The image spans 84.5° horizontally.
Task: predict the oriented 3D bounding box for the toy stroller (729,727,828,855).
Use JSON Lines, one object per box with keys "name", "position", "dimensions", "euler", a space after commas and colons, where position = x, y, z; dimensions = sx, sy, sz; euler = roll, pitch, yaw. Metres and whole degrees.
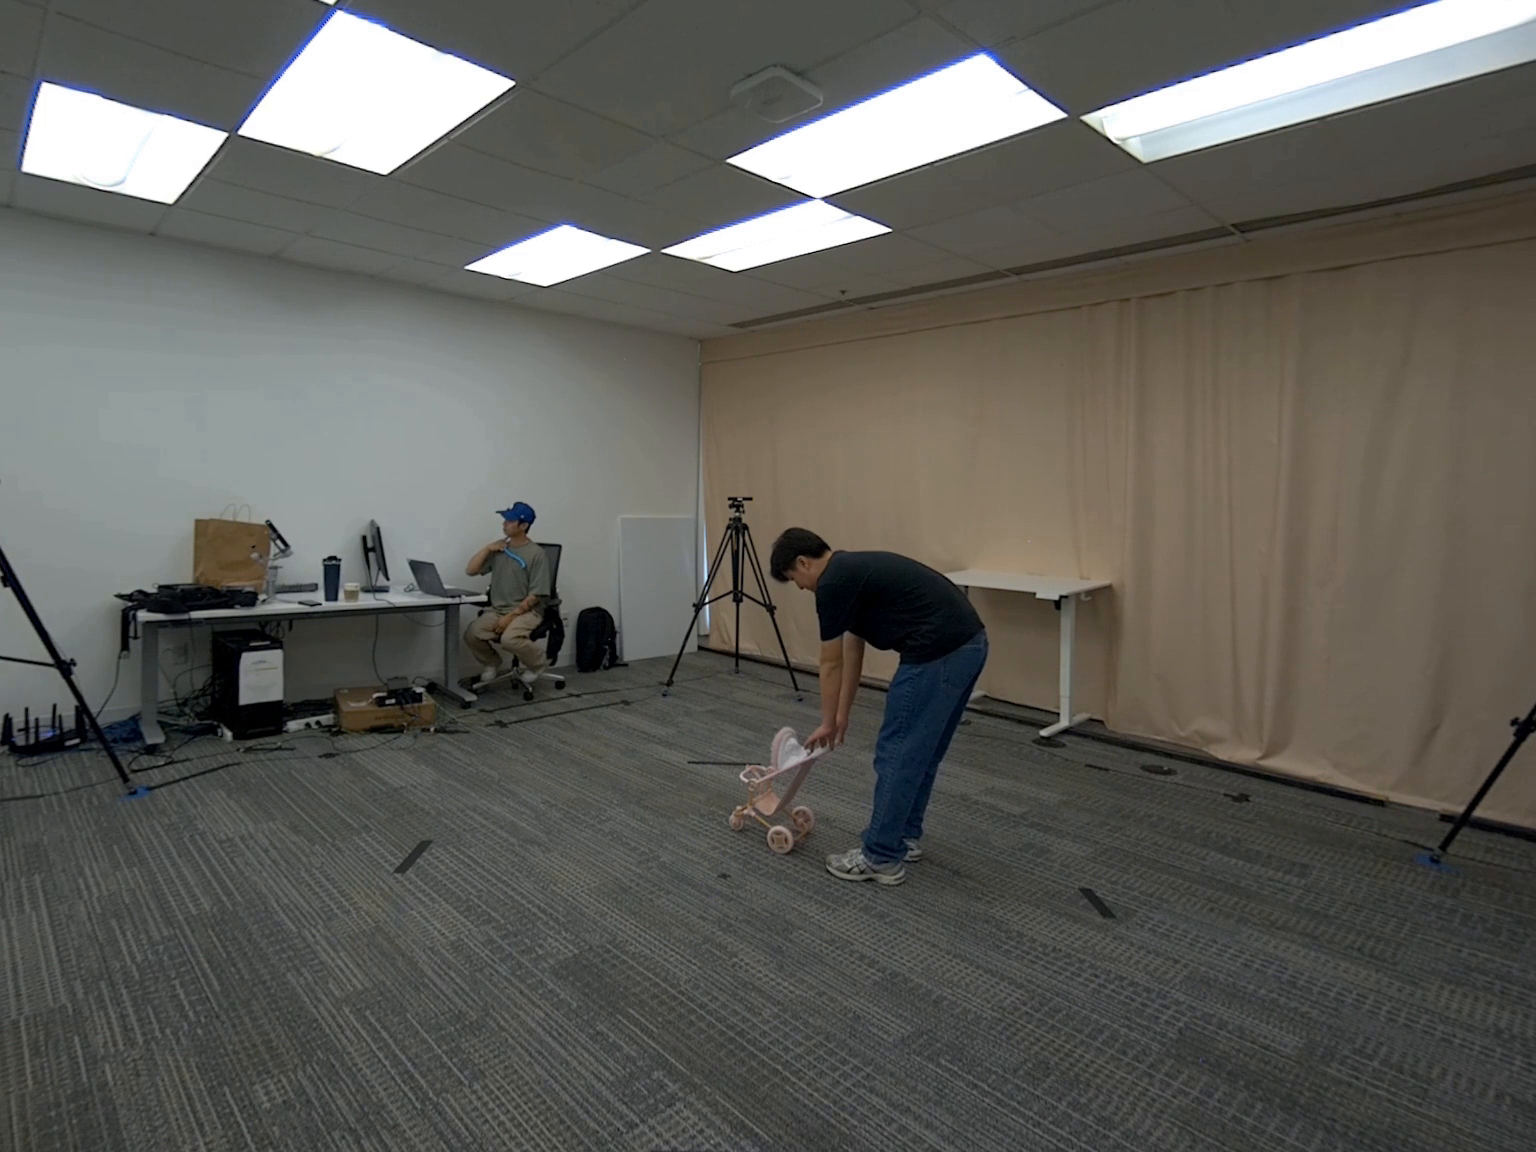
{"name": "toy stroller", "position": [0.041, 0.854, 3.453], "dimensions": [0.350, 0.532, 0.276], "euler": [21, 11, 28]}
